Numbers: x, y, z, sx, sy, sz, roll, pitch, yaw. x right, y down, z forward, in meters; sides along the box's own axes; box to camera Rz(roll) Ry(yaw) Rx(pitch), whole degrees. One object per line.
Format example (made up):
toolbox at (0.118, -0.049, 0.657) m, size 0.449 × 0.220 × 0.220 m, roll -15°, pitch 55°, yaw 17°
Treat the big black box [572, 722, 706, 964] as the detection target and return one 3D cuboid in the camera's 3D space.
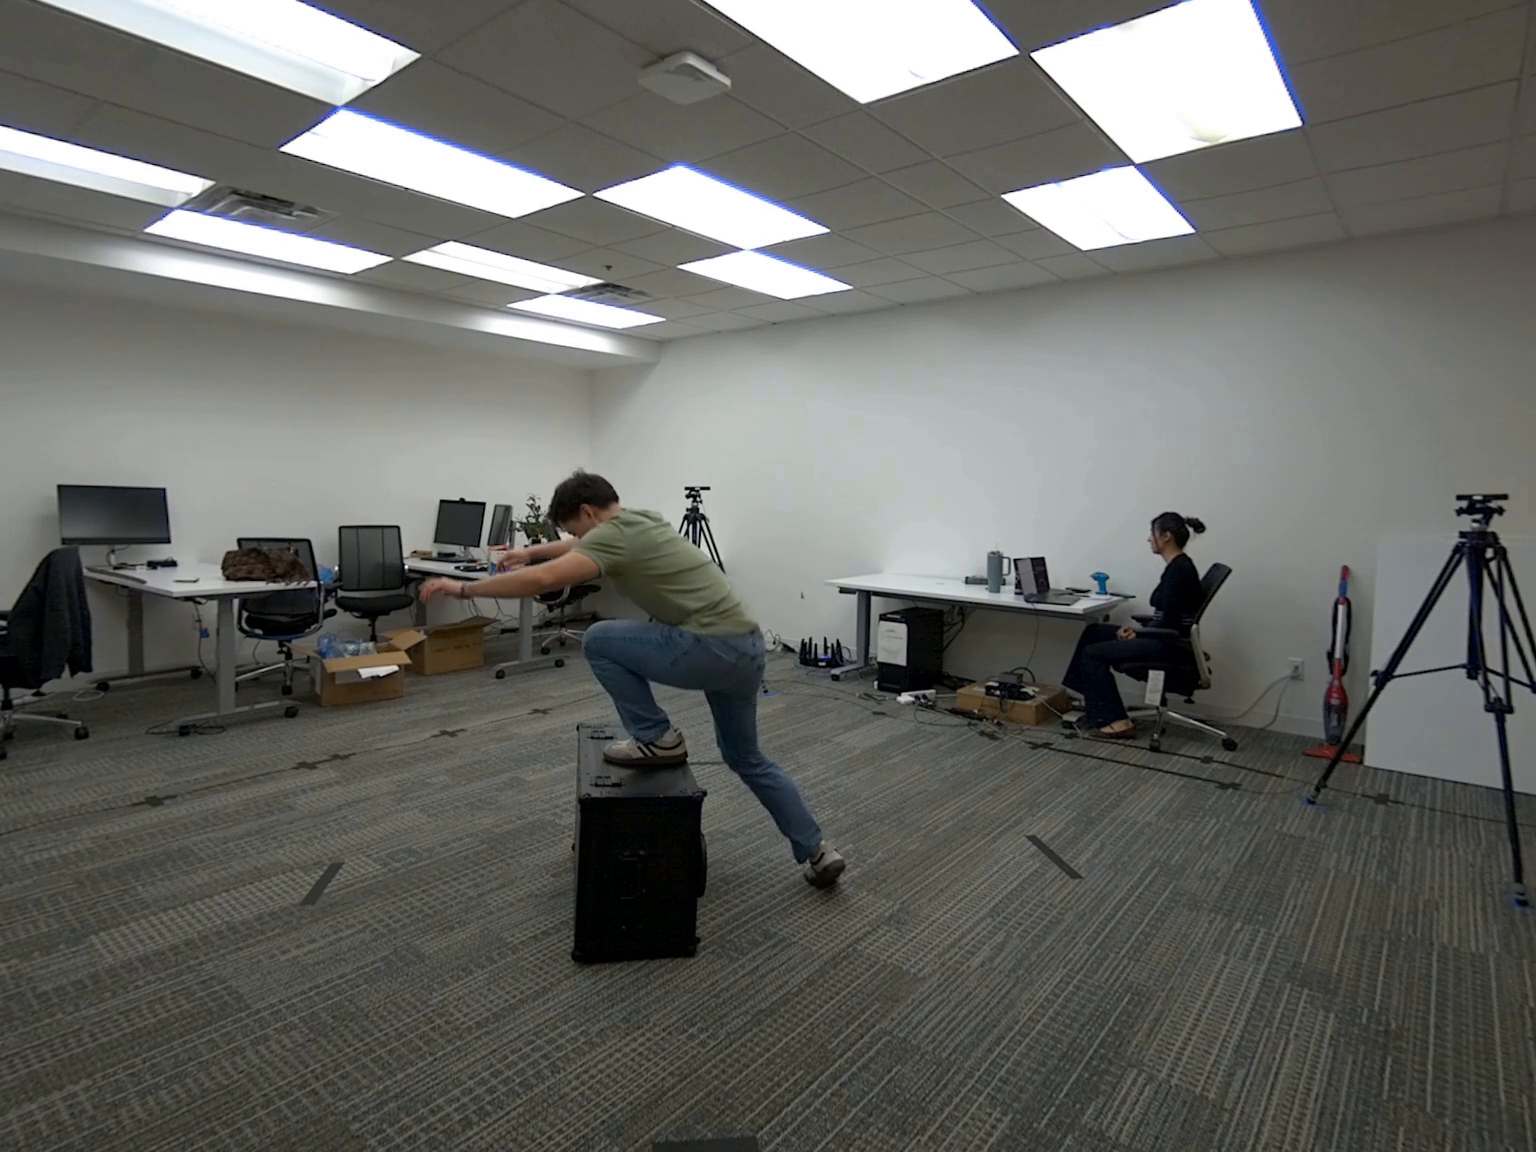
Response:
big black box at (-0.465, 0.830, 2.885) m, size 0.391 × 0.520 × 0.876 m, roll 2°, pitch 4°, yaw -13°
